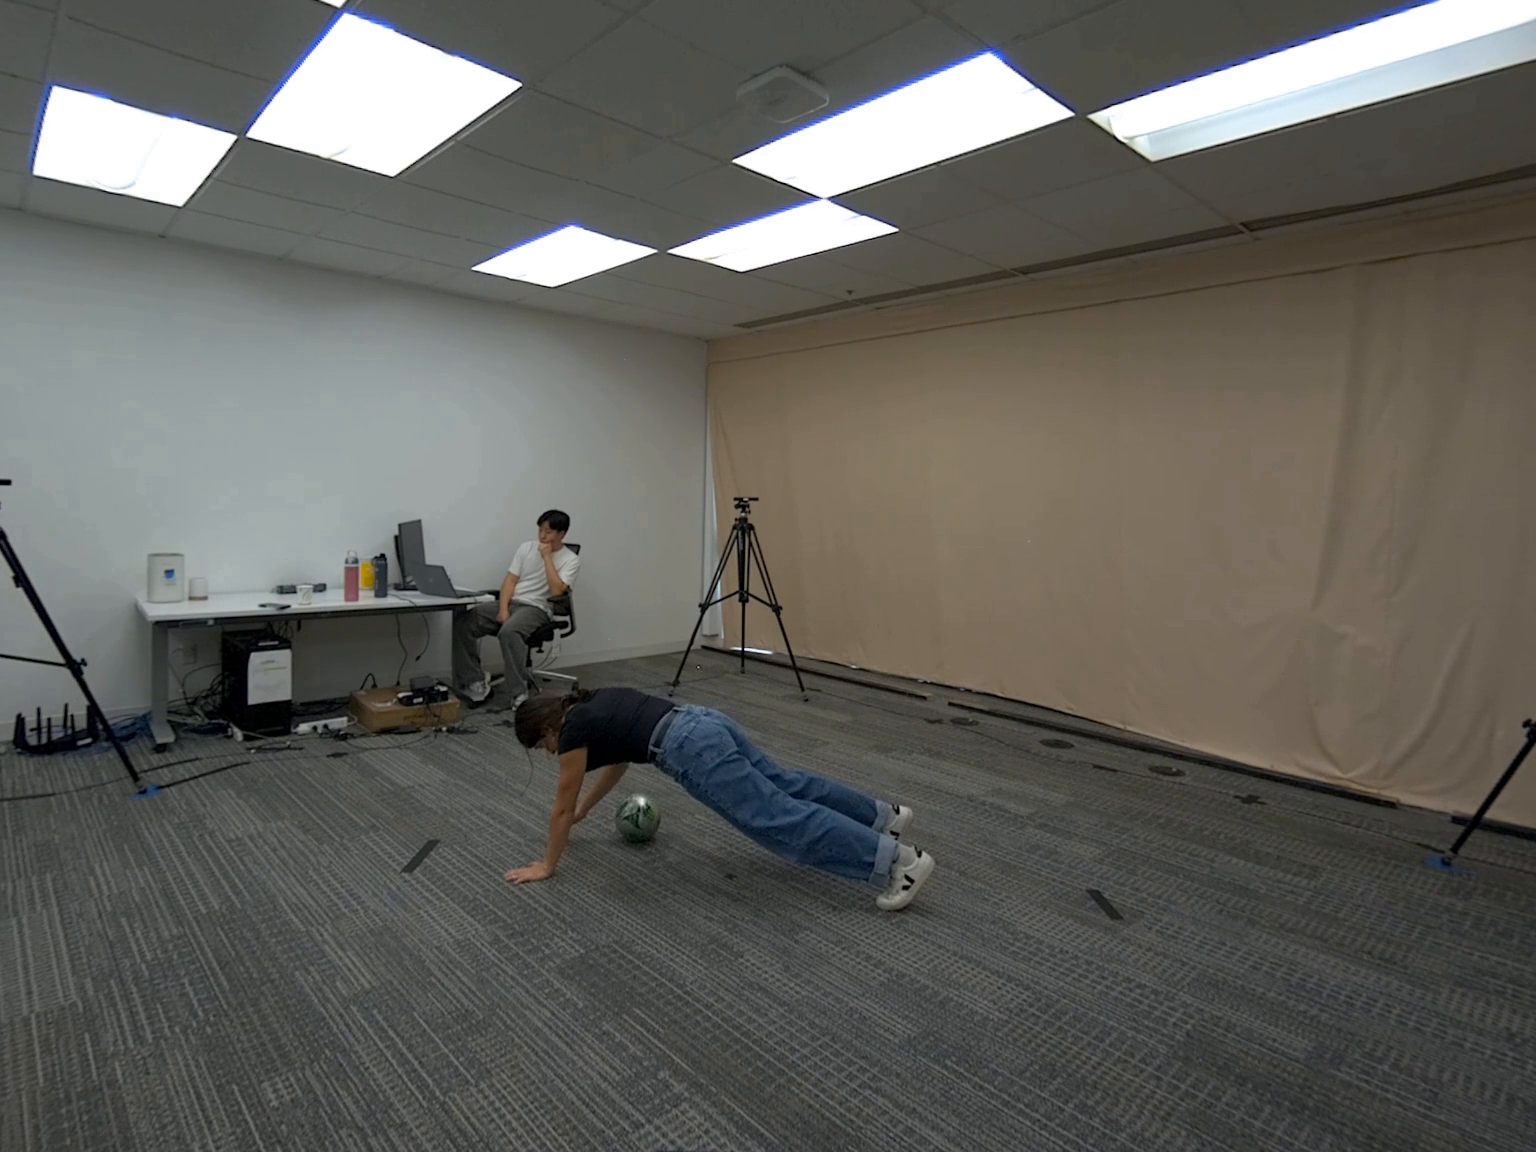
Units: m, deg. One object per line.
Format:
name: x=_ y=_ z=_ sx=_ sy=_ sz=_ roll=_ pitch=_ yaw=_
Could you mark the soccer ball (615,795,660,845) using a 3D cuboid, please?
soccer ball: x=-0.530 y=0.978 z=3.407 sx=0.187 sy=0.187 sz=0.188 roll=1 pitch=4 yaw=-1
